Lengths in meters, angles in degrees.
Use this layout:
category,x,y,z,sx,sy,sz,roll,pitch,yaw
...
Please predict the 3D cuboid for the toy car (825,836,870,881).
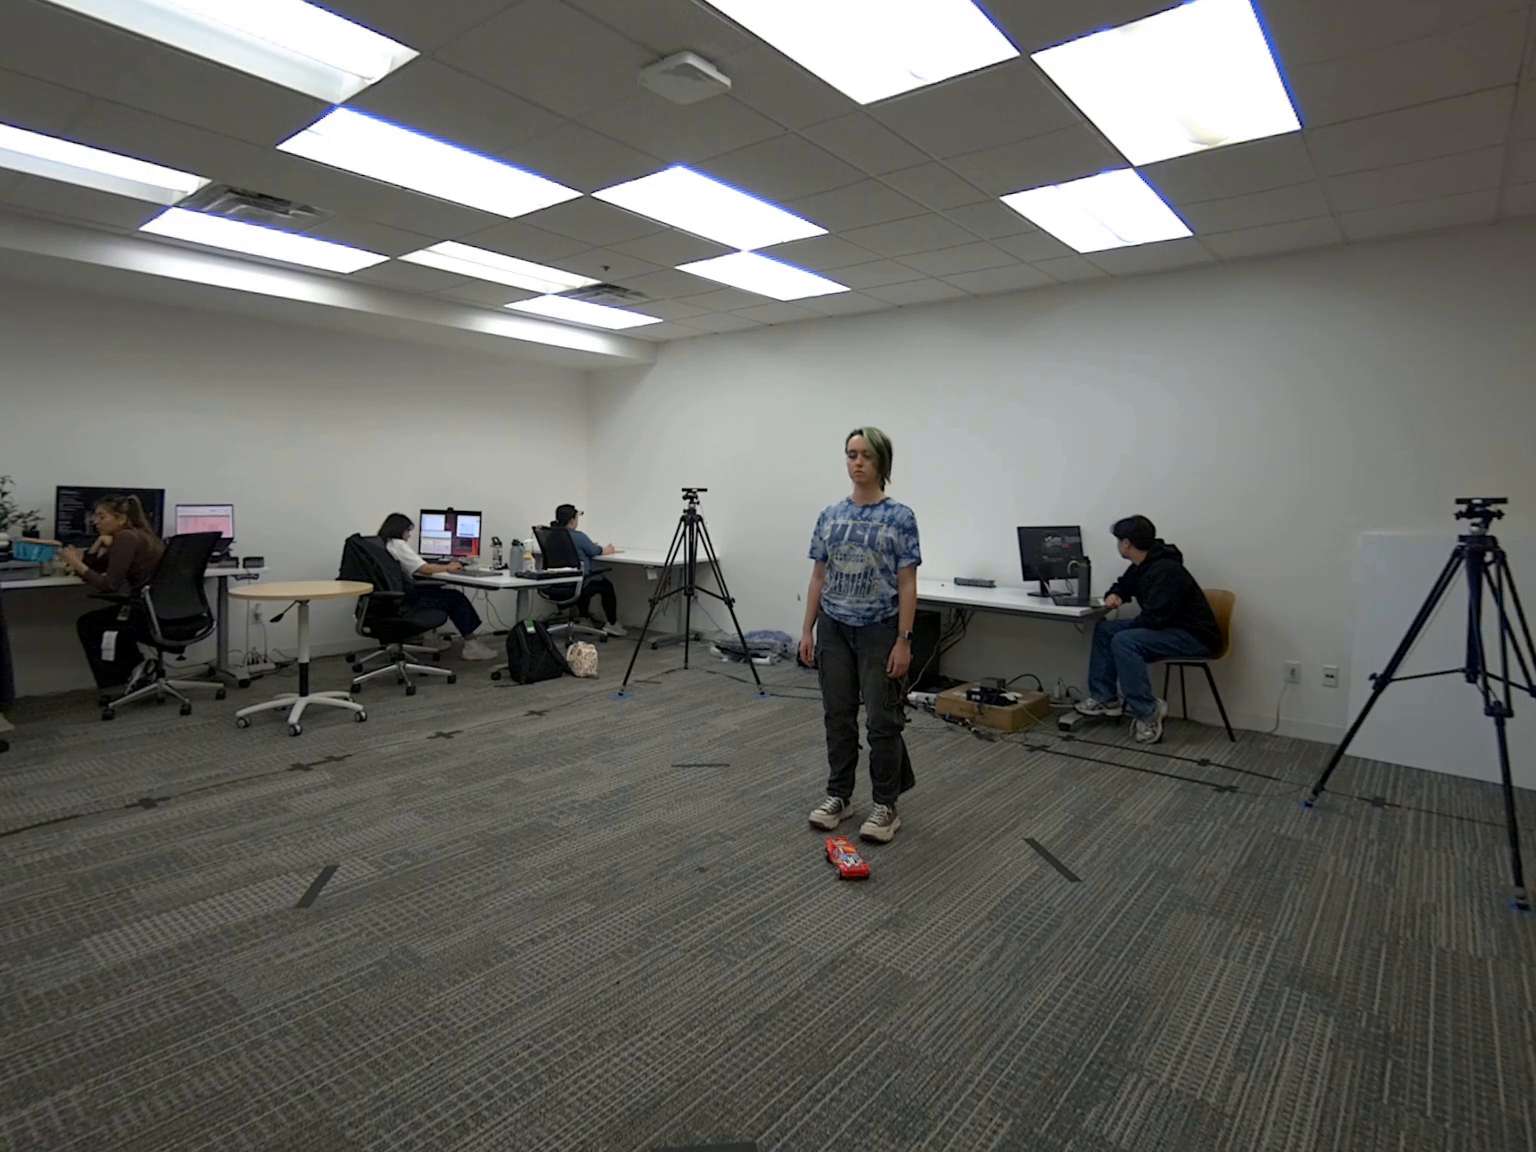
category,x,y,z,sx,sy,sz,roll,pitch,yaw
toy car,0.282,1.044,3.156,0.129,0.082,0.261,-1,17,-11
